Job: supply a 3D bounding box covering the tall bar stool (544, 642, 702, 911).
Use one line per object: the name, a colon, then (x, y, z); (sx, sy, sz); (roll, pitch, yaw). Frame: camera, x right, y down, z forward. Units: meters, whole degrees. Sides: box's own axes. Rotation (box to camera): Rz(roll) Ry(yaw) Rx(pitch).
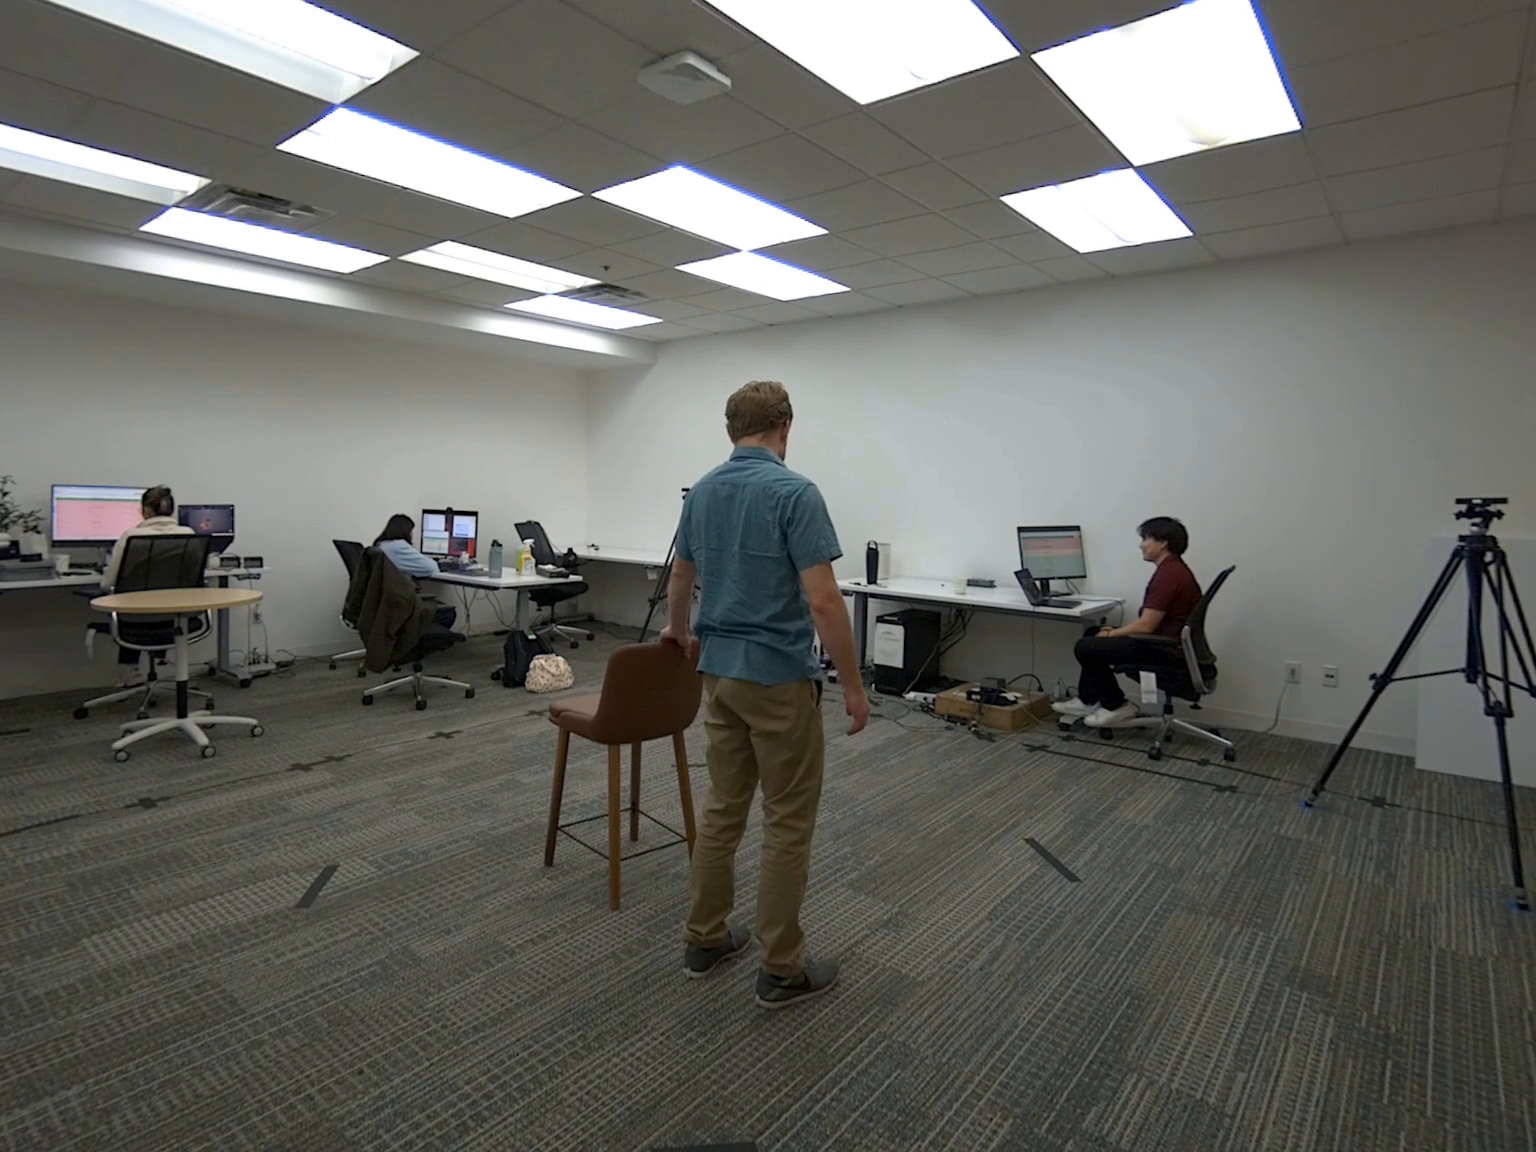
tall bar stool: (-0.519, 0.634, 3.050); (0.442, 0.886, 0.484); (-1, 6, -42)
